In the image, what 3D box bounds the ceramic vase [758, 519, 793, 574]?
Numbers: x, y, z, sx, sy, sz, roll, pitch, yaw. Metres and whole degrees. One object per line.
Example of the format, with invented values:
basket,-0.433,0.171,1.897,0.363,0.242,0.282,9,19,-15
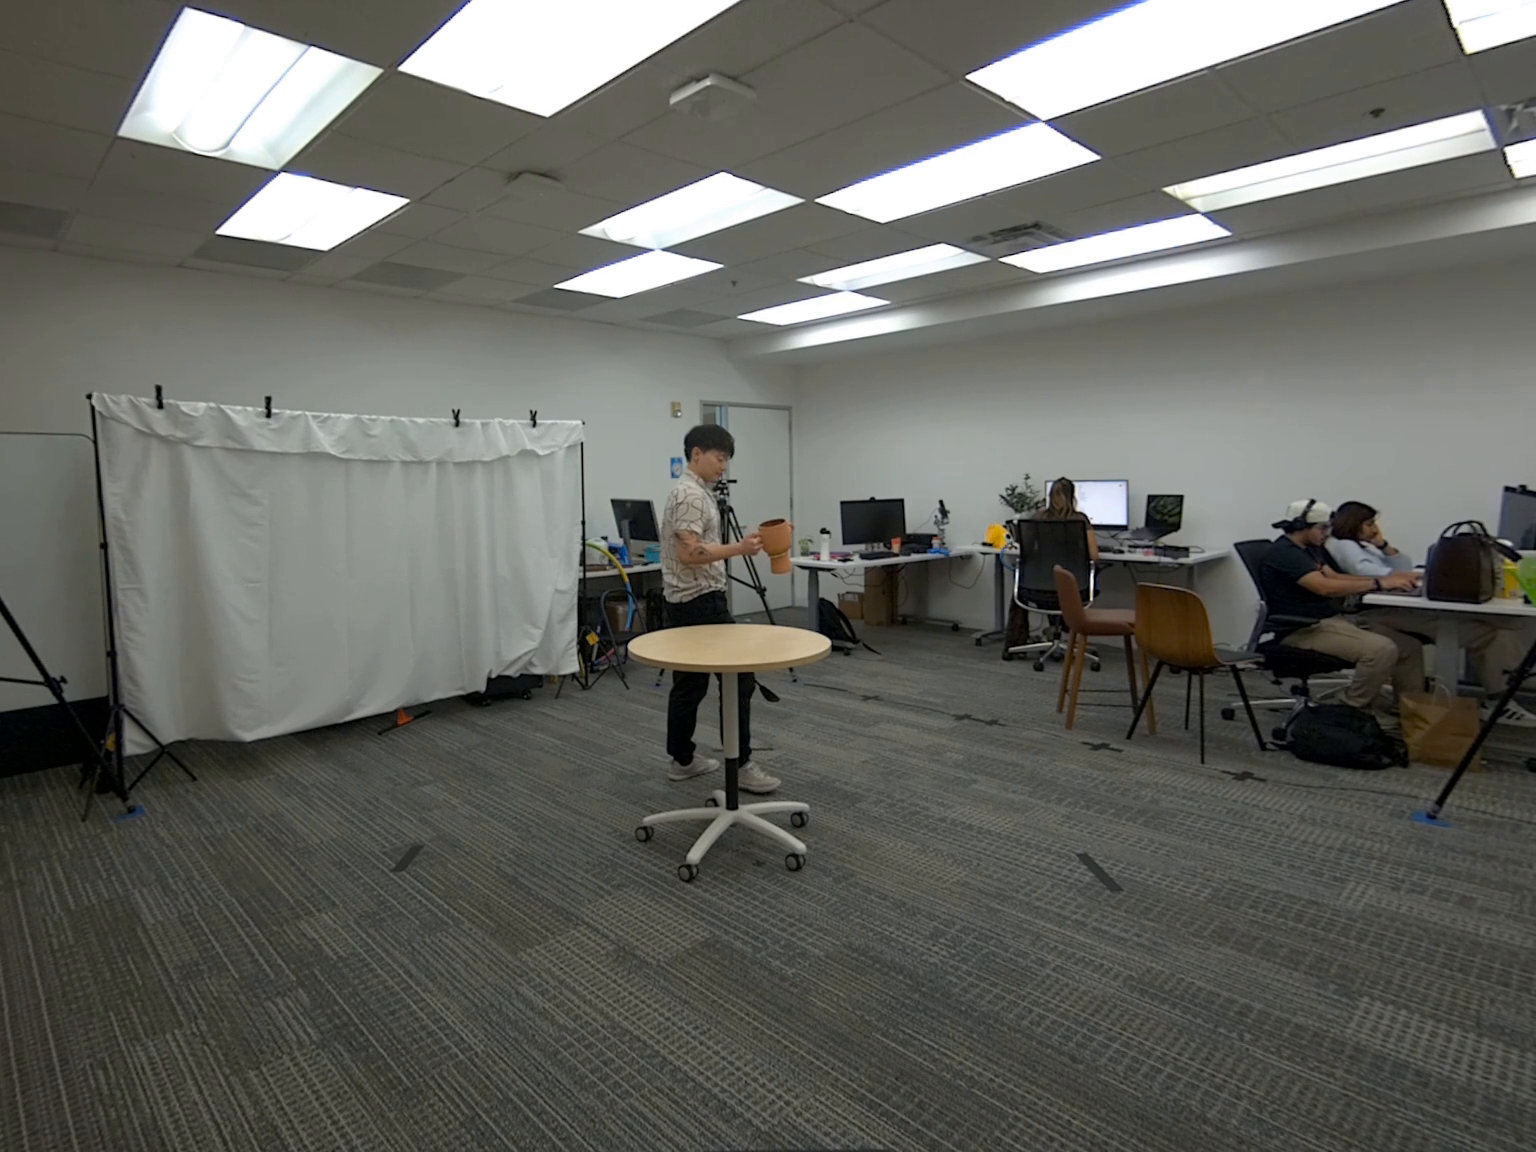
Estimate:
ceramic vase,0.046,-0.129,3.735,0.161,0.216,0.135,-7,16,13
